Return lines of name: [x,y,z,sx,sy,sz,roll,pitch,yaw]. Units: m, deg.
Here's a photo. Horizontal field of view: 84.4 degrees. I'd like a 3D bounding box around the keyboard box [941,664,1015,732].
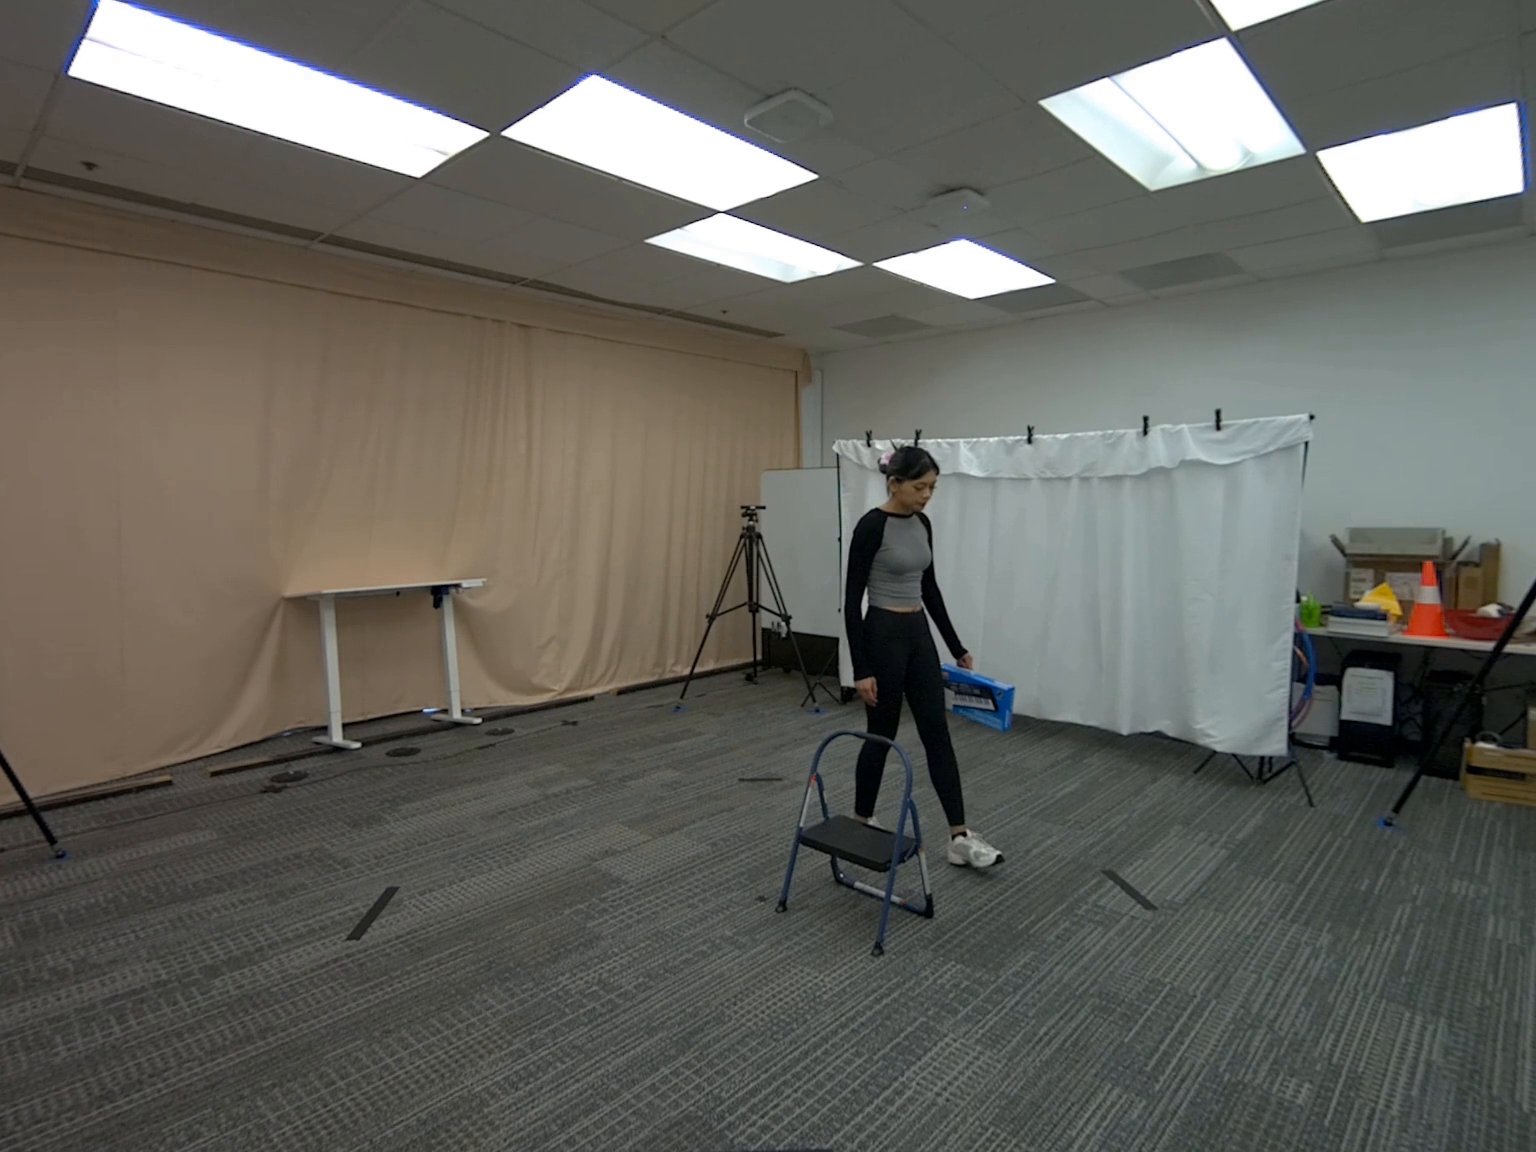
keyboard box: [0.798,0.479,3.450,0.057,0.175,0.452,-7,15,-39]
